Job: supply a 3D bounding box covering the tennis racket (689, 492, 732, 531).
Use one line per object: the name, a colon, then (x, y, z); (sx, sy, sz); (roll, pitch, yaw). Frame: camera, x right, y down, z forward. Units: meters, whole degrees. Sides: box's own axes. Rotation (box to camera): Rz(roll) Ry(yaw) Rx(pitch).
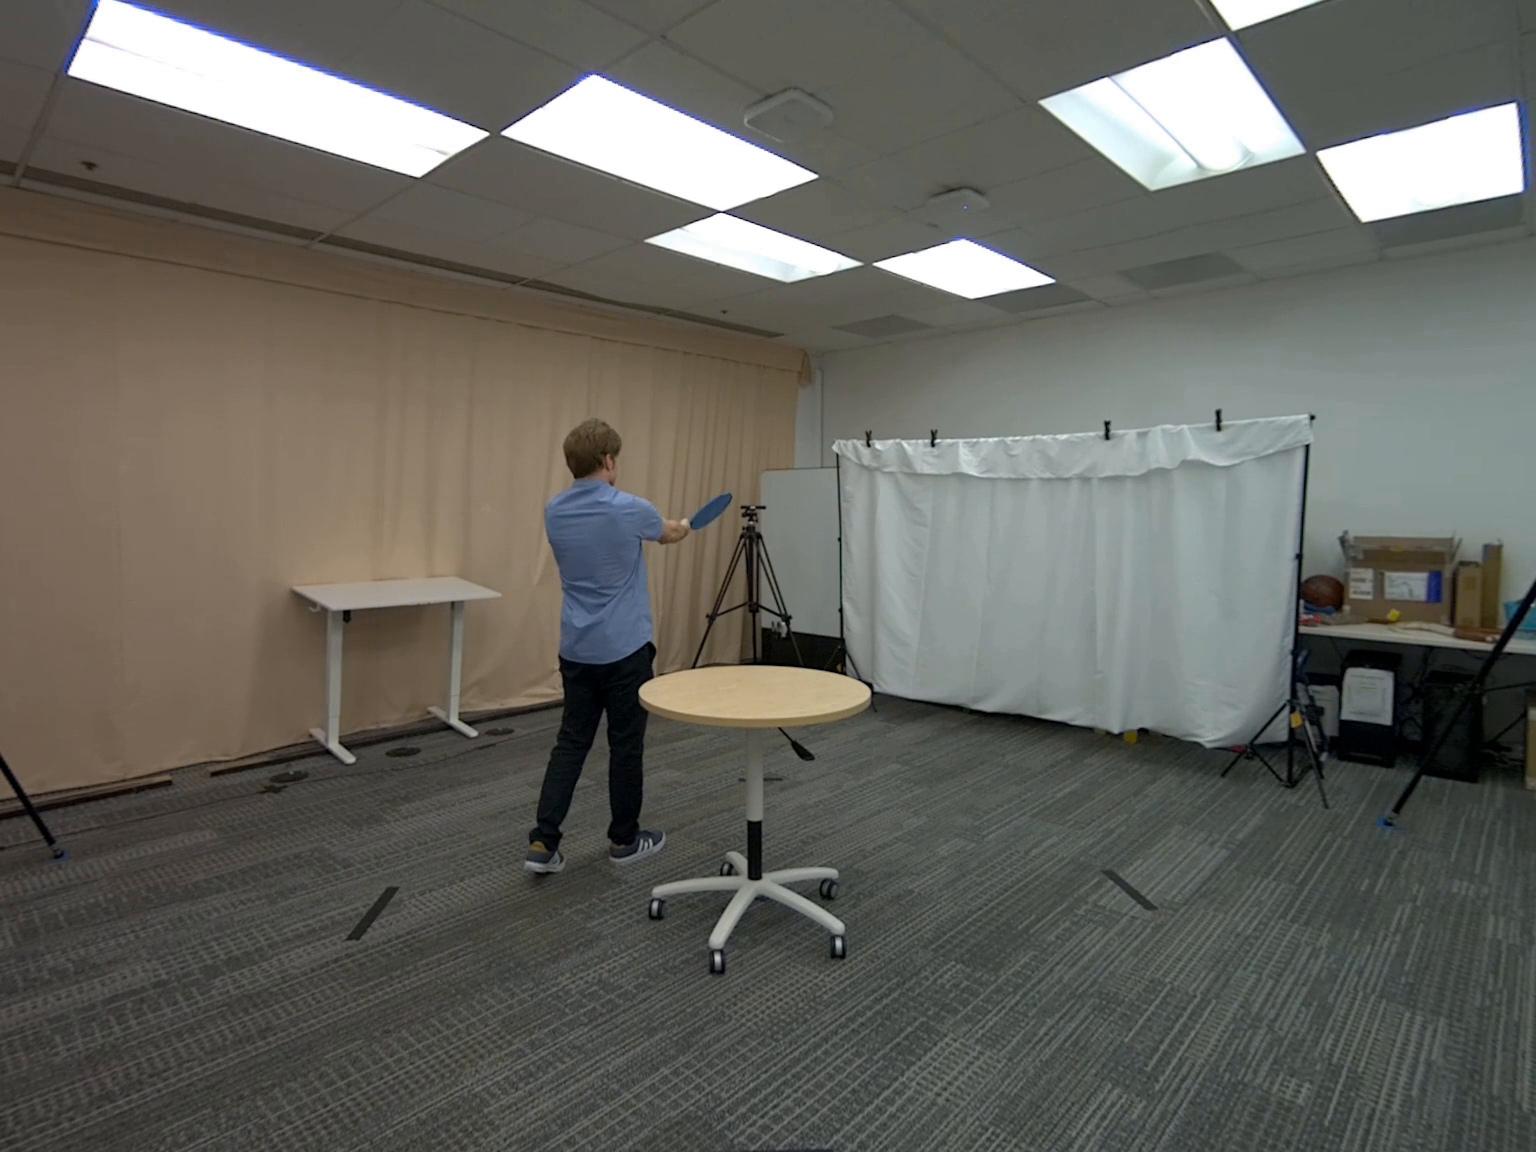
tennis racket: (-0.318, -0.254, 3.827); (0.426, 0.032, 0.213); (-36, -18, -37)
